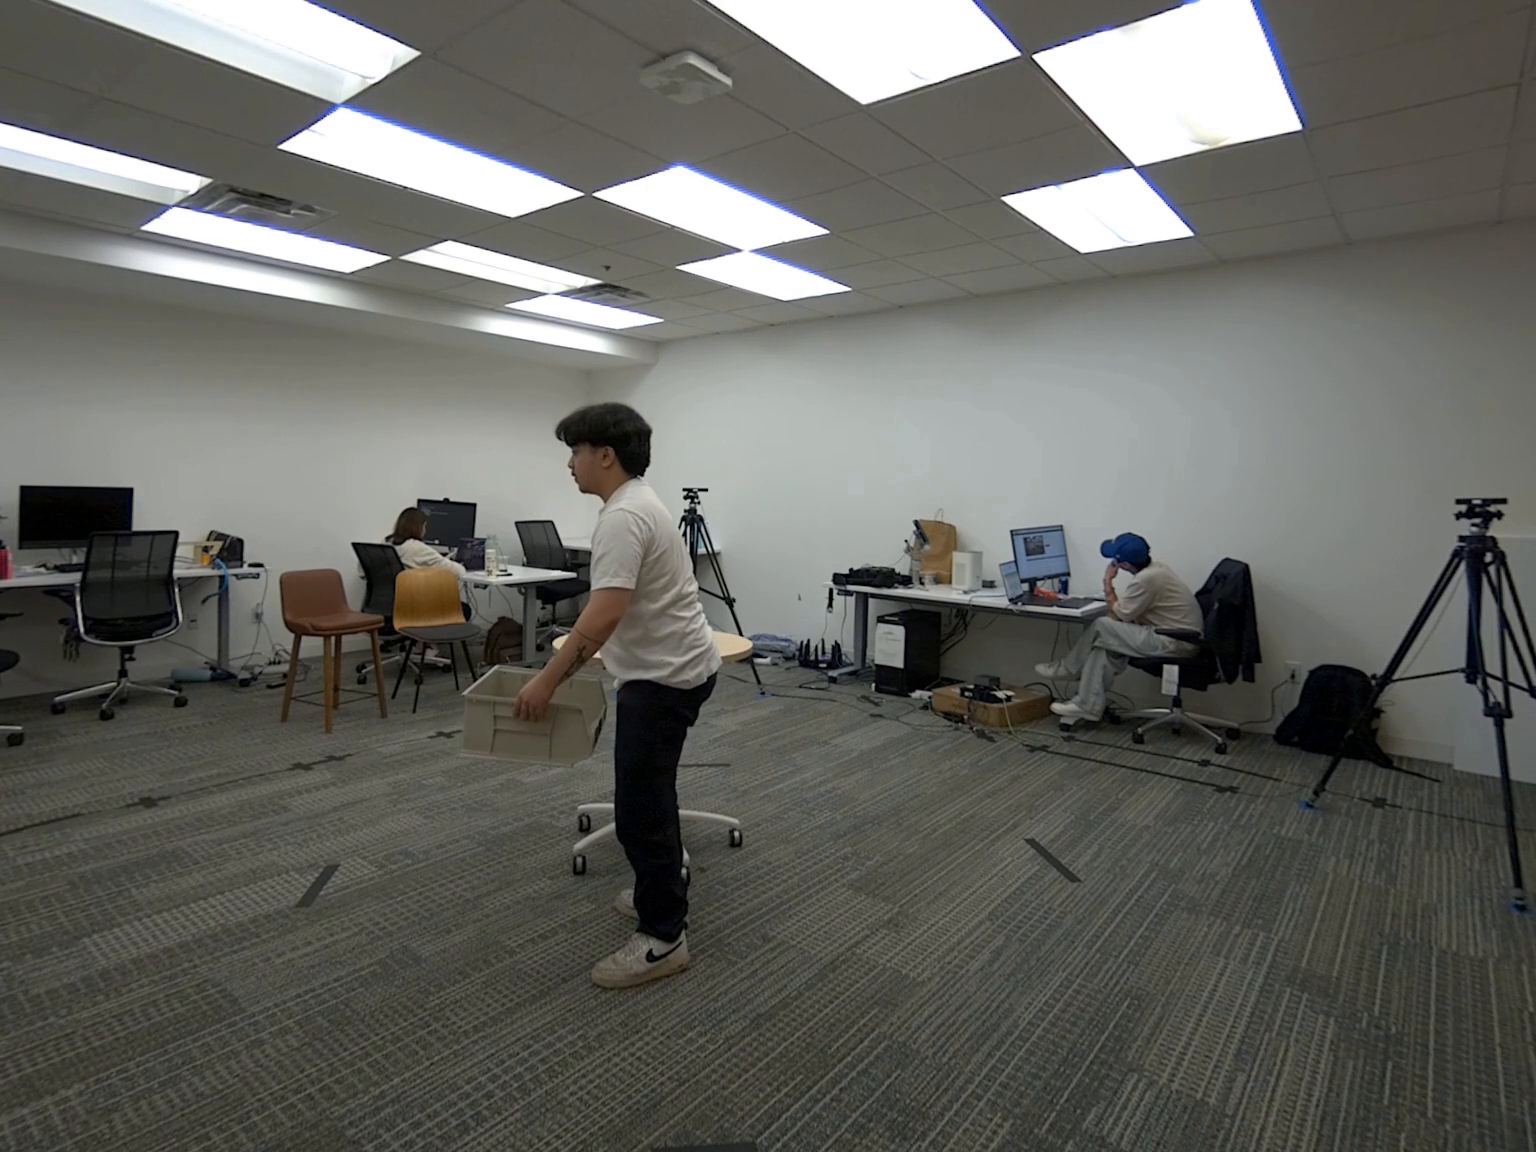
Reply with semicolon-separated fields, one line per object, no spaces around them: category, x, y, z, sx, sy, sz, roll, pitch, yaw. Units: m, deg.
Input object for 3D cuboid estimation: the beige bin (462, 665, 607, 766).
beige bin;-0.709;0.411;2.580;0.377;0.188;0.424;2;4;-3
